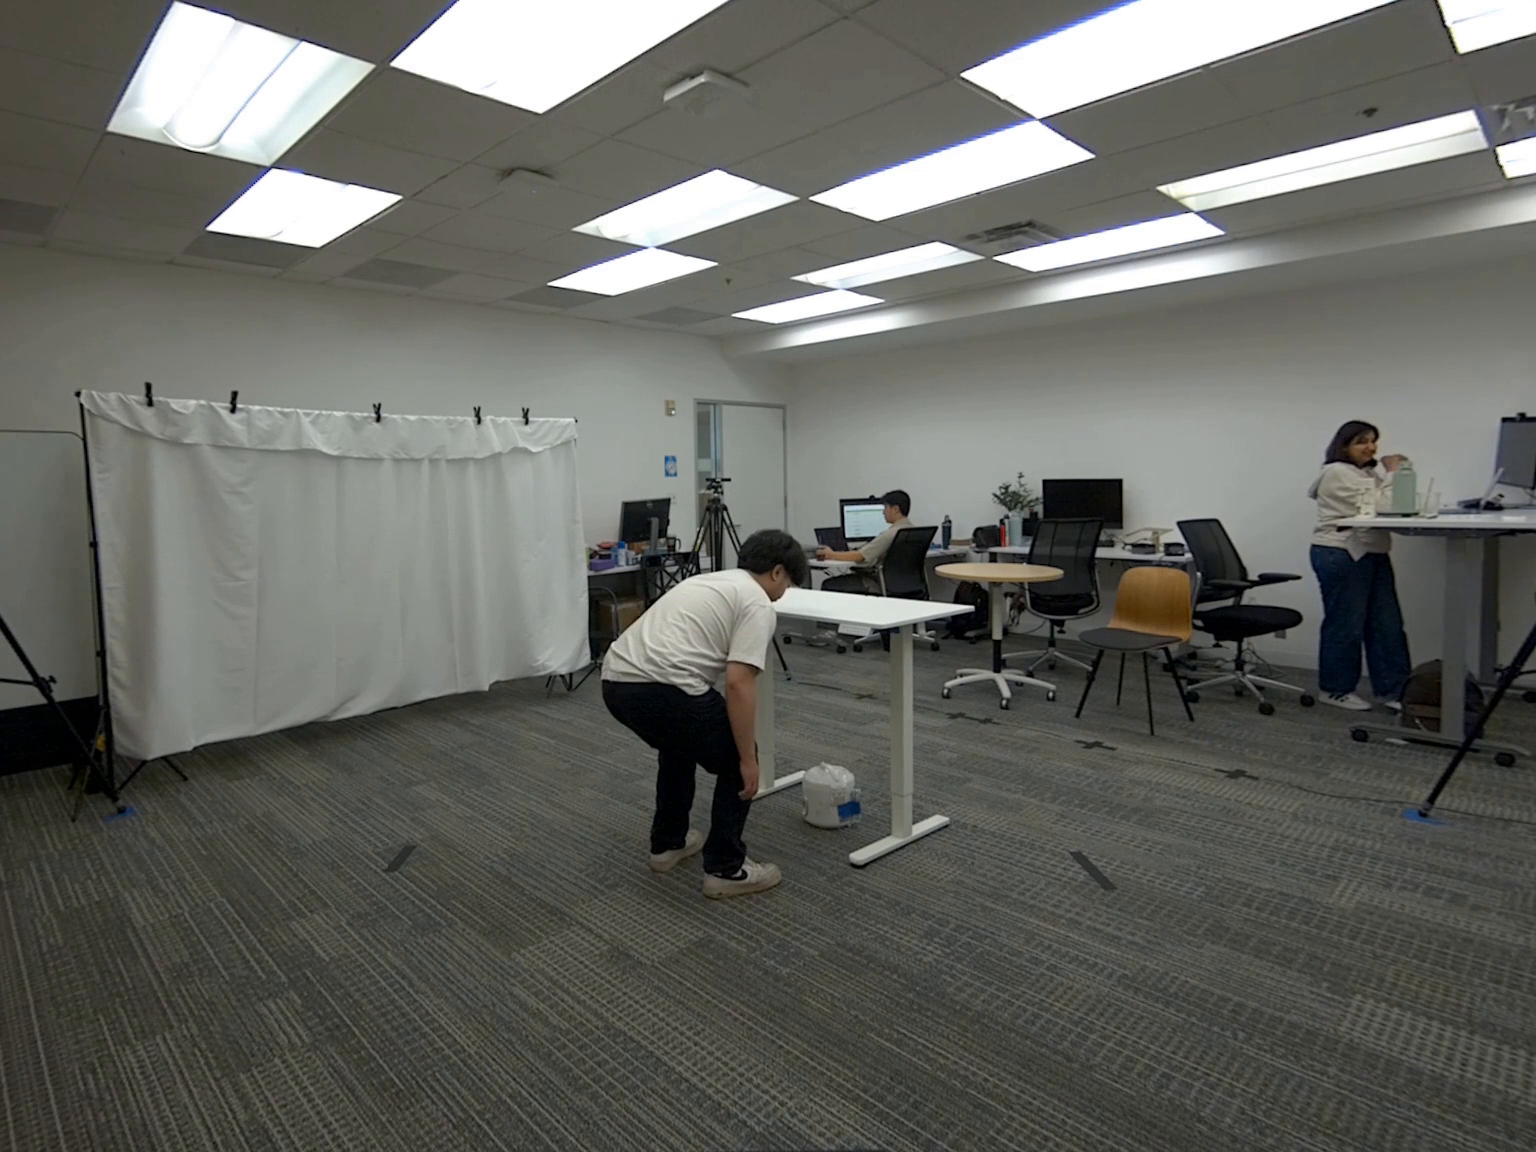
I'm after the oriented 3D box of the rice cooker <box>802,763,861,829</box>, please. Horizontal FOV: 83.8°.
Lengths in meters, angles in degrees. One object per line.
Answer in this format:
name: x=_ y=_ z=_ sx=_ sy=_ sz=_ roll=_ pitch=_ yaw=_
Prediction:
rice cooker: x=0.243 y=0.881 z=3.464 sx=0.214 sy=0.232 sz=0.225 roll=-2 pitch=5 yaw=-16
